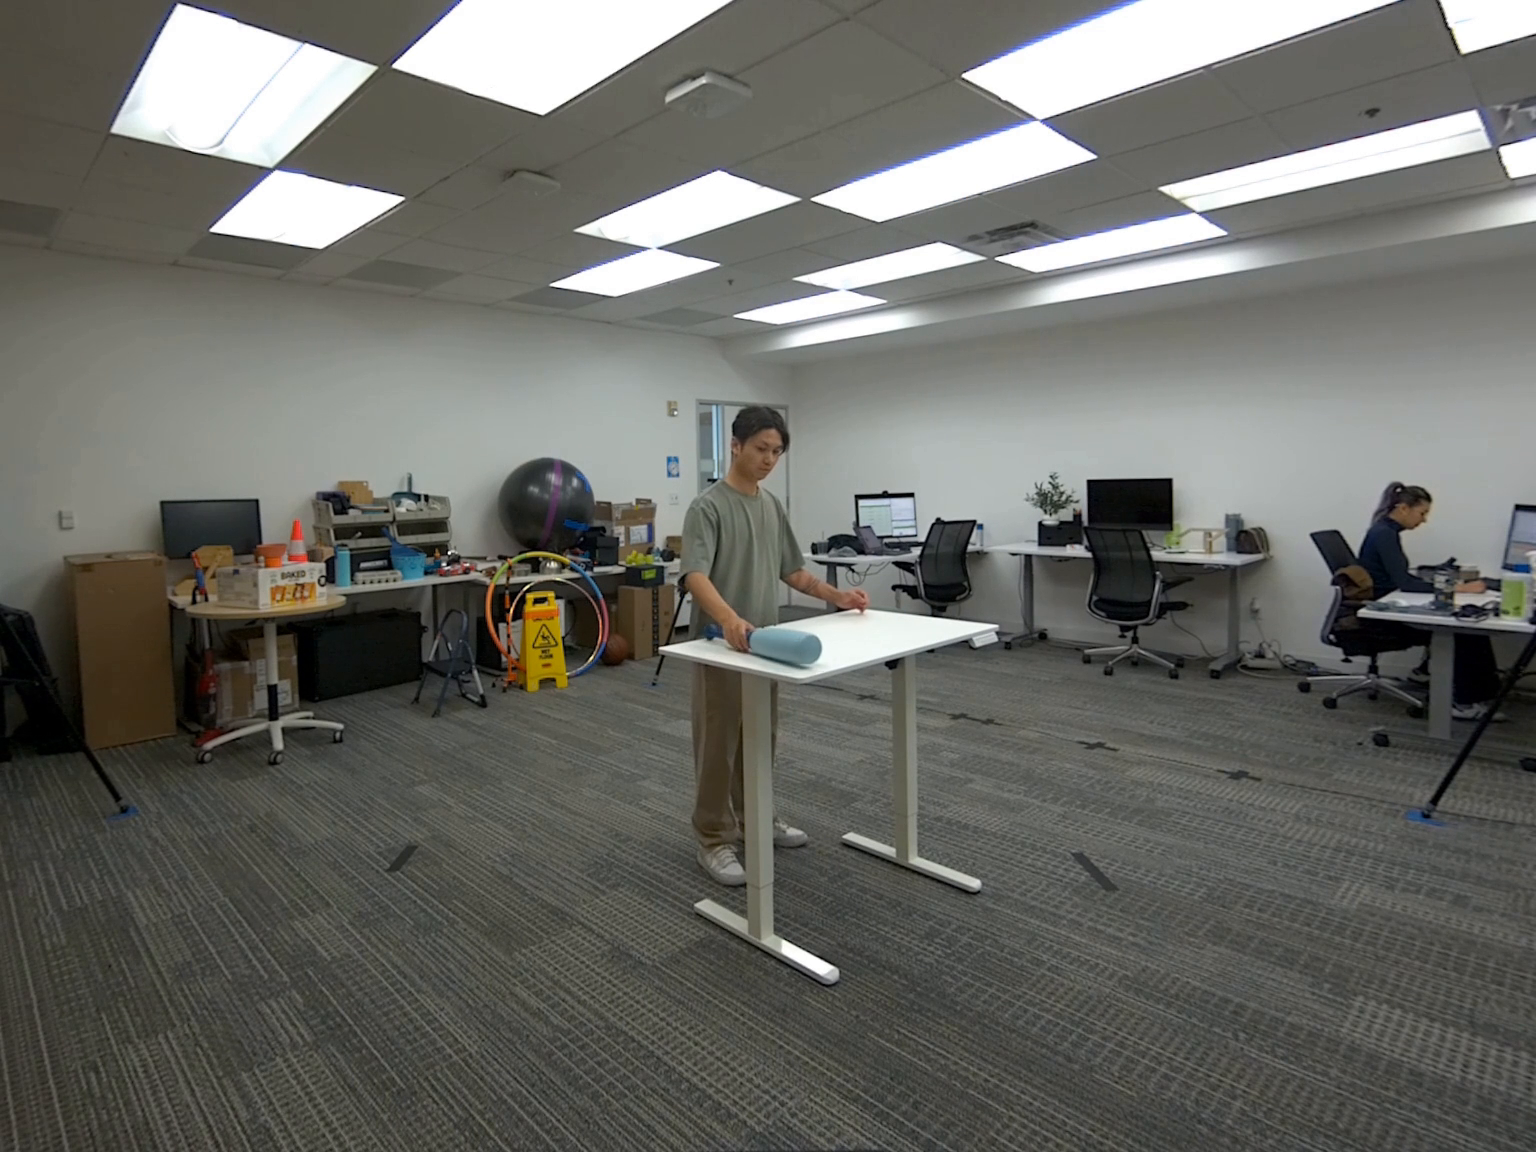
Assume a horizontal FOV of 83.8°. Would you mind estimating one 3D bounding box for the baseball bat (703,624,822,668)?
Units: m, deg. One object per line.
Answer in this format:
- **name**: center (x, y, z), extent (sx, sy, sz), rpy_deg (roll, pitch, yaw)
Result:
- **baseball bat**: center (-0.035, 0.195, 2.542), extent (0.087, 0.089, 0.557), rpy_deg (-4, 3, -33)
